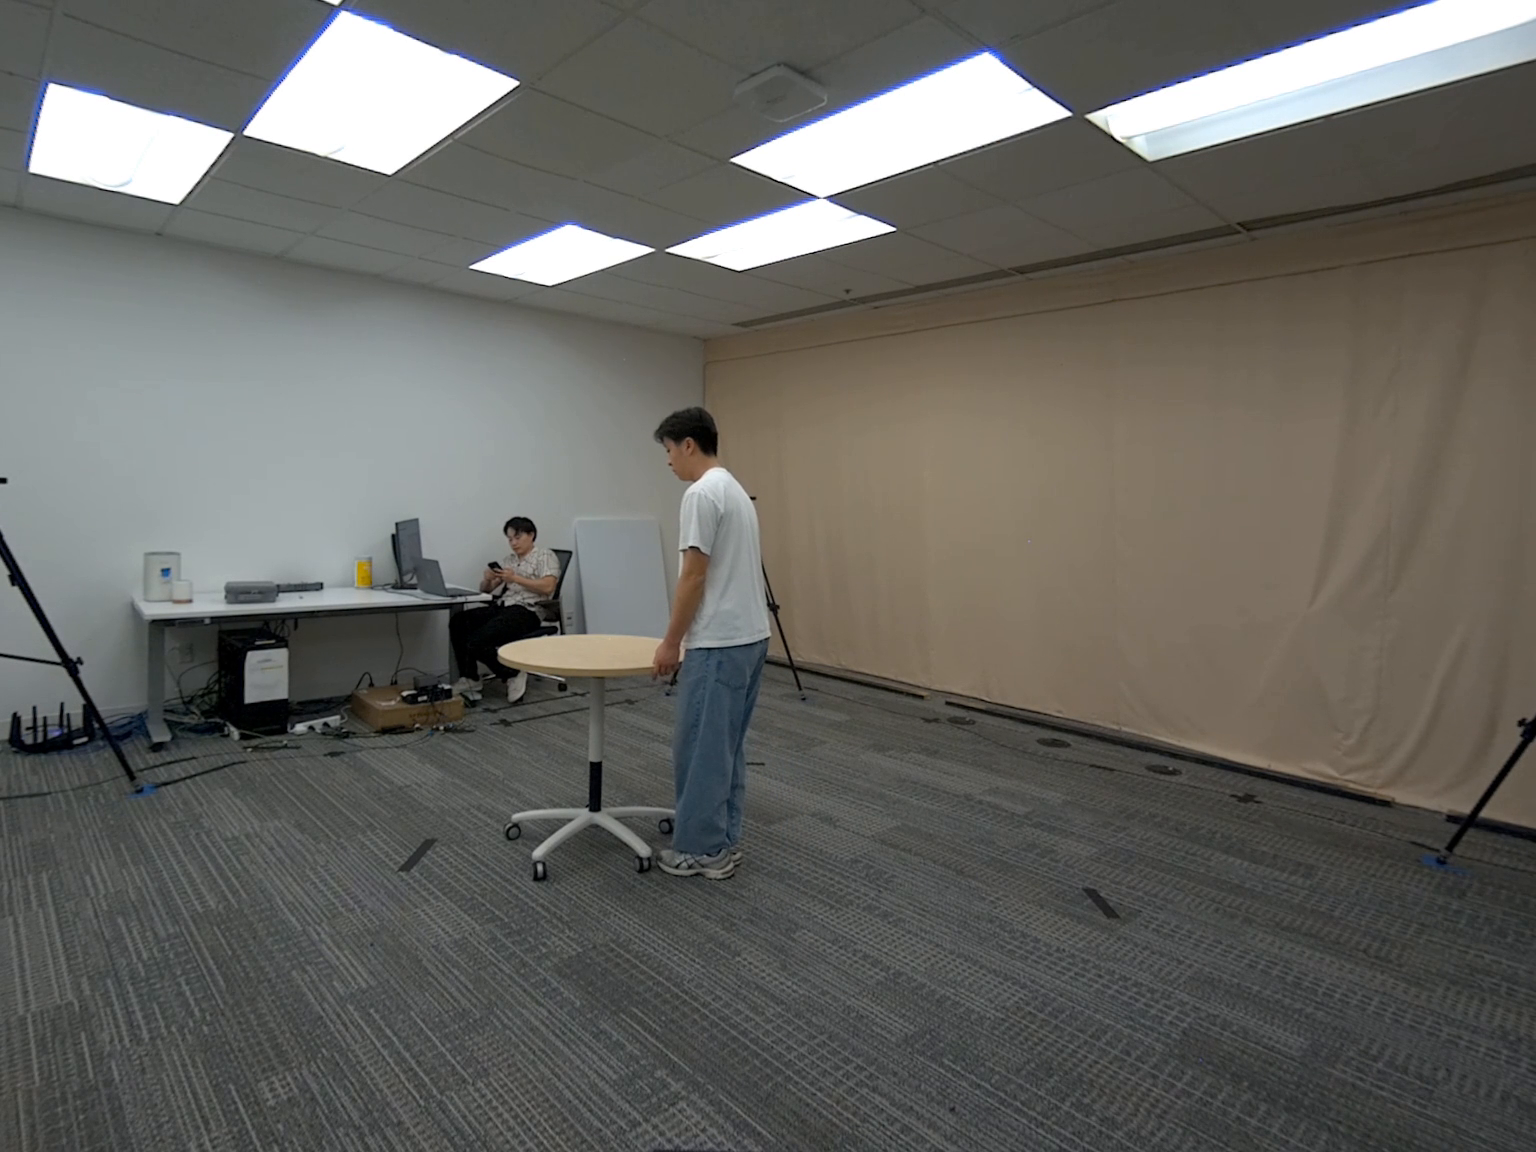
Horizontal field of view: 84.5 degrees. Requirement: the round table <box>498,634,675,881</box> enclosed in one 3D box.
[{"bbox_3d":[-0.684,0.683,3.327,0.763,0.792,0.766,2,4,-1],"label":"round table"}]
